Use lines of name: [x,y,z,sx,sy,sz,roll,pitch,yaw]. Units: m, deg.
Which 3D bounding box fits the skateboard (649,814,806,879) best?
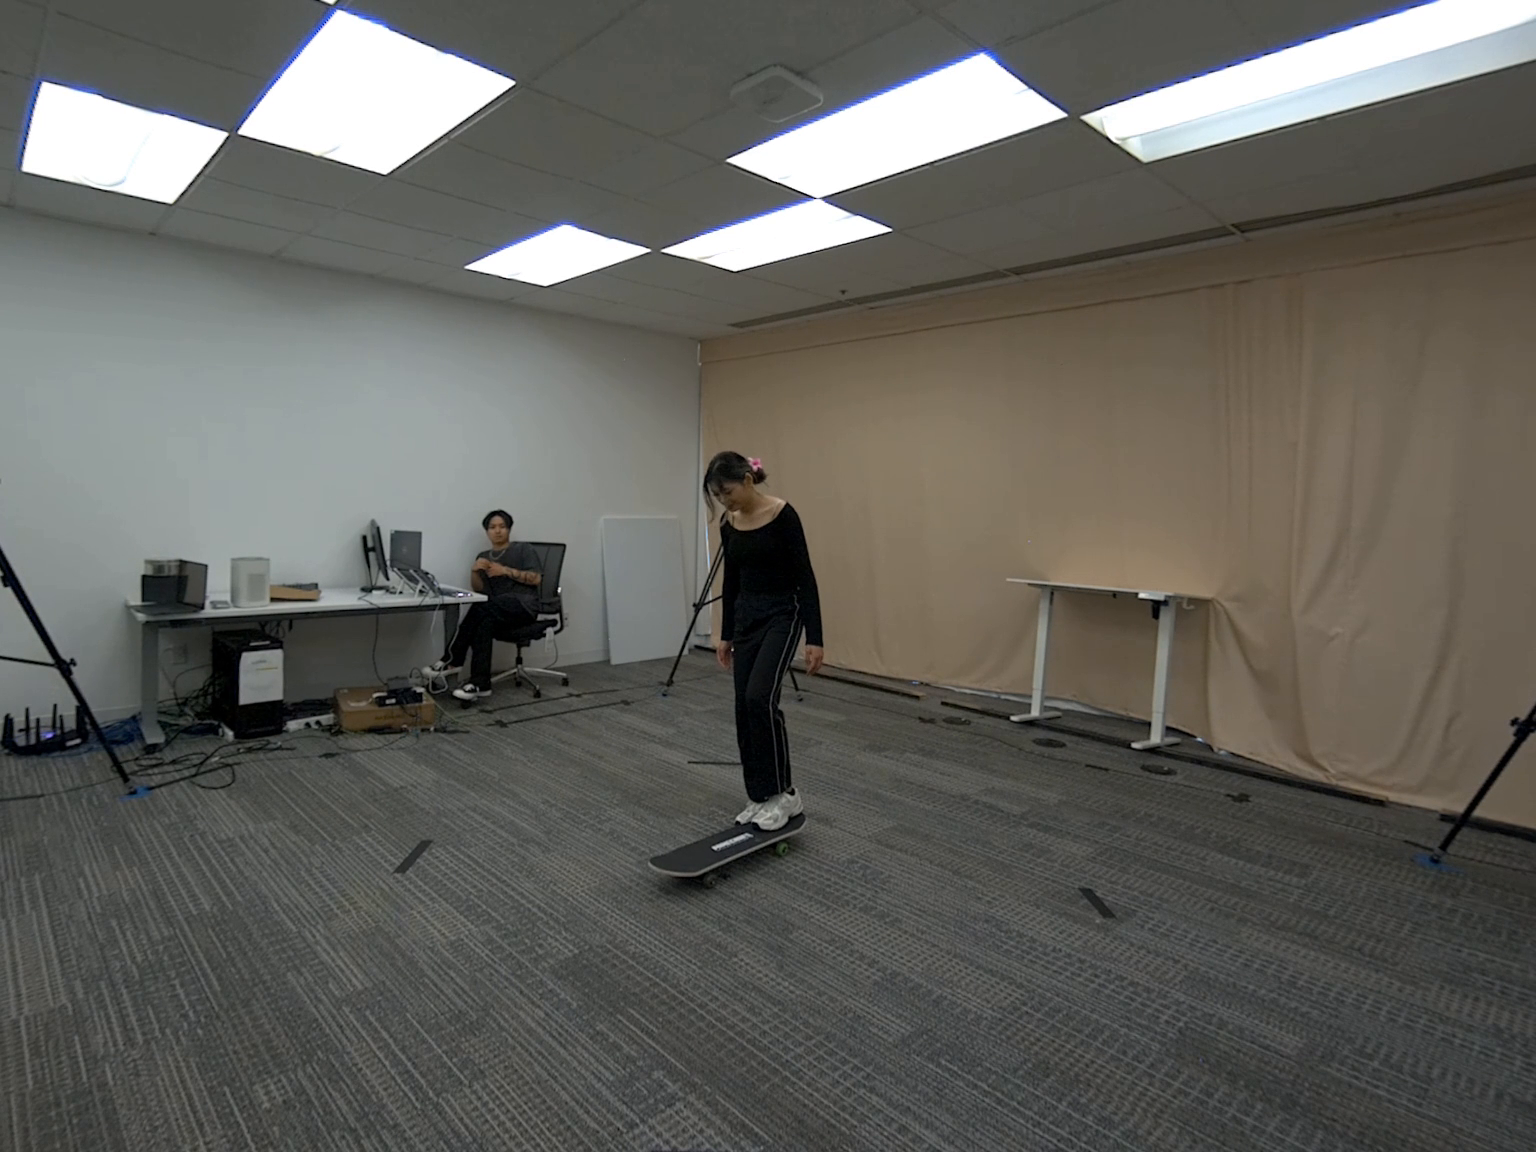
skateboard: [-0.144,1.042,3.195,0.198,0.110,0.767,5,6,41]
